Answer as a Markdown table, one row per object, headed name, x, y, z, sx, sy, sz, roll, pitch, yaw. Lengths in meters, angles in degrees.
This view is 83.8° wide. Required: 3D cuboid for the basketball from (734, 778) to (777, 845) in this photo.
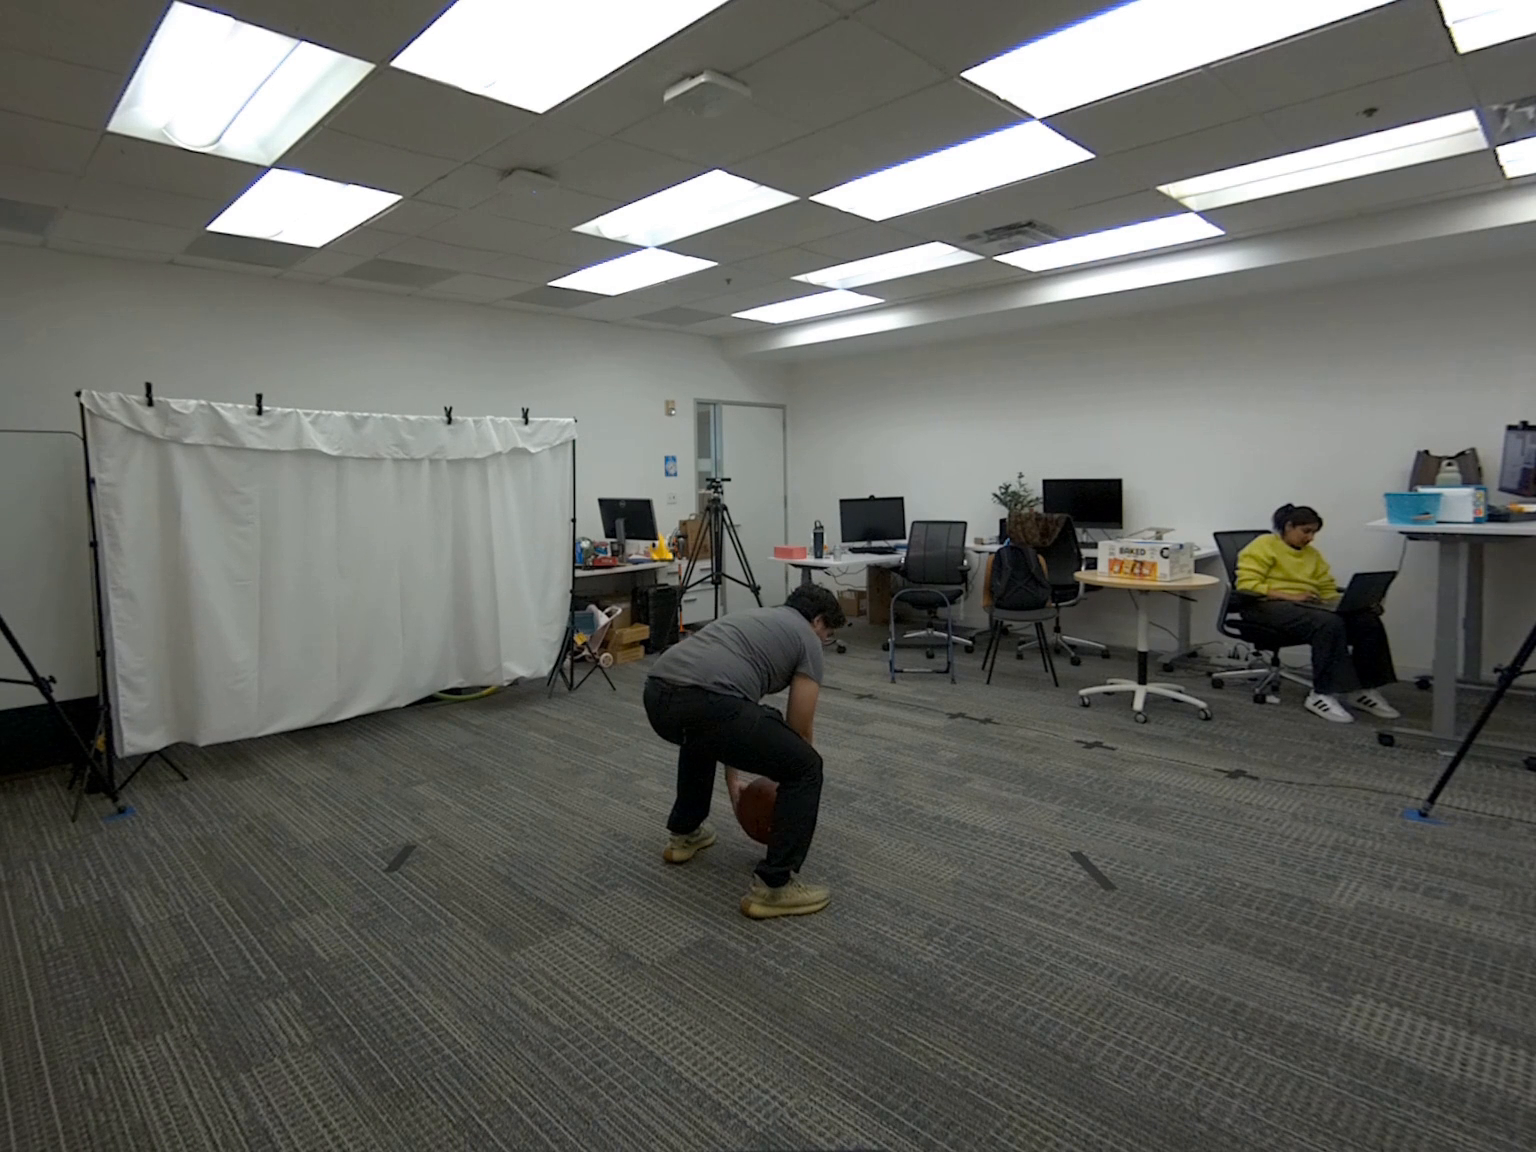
| name | x | y | z | sx | sy | sz | roll | pitch | yaw |
| --- | --- | --- | --- | --- | --- | --- | --- | --- | --- |
| basketball | 0.010 | 0.848 | 3.123 | 0.236 | 0.235 | 0.237 | -1 | 5 | -2 |
